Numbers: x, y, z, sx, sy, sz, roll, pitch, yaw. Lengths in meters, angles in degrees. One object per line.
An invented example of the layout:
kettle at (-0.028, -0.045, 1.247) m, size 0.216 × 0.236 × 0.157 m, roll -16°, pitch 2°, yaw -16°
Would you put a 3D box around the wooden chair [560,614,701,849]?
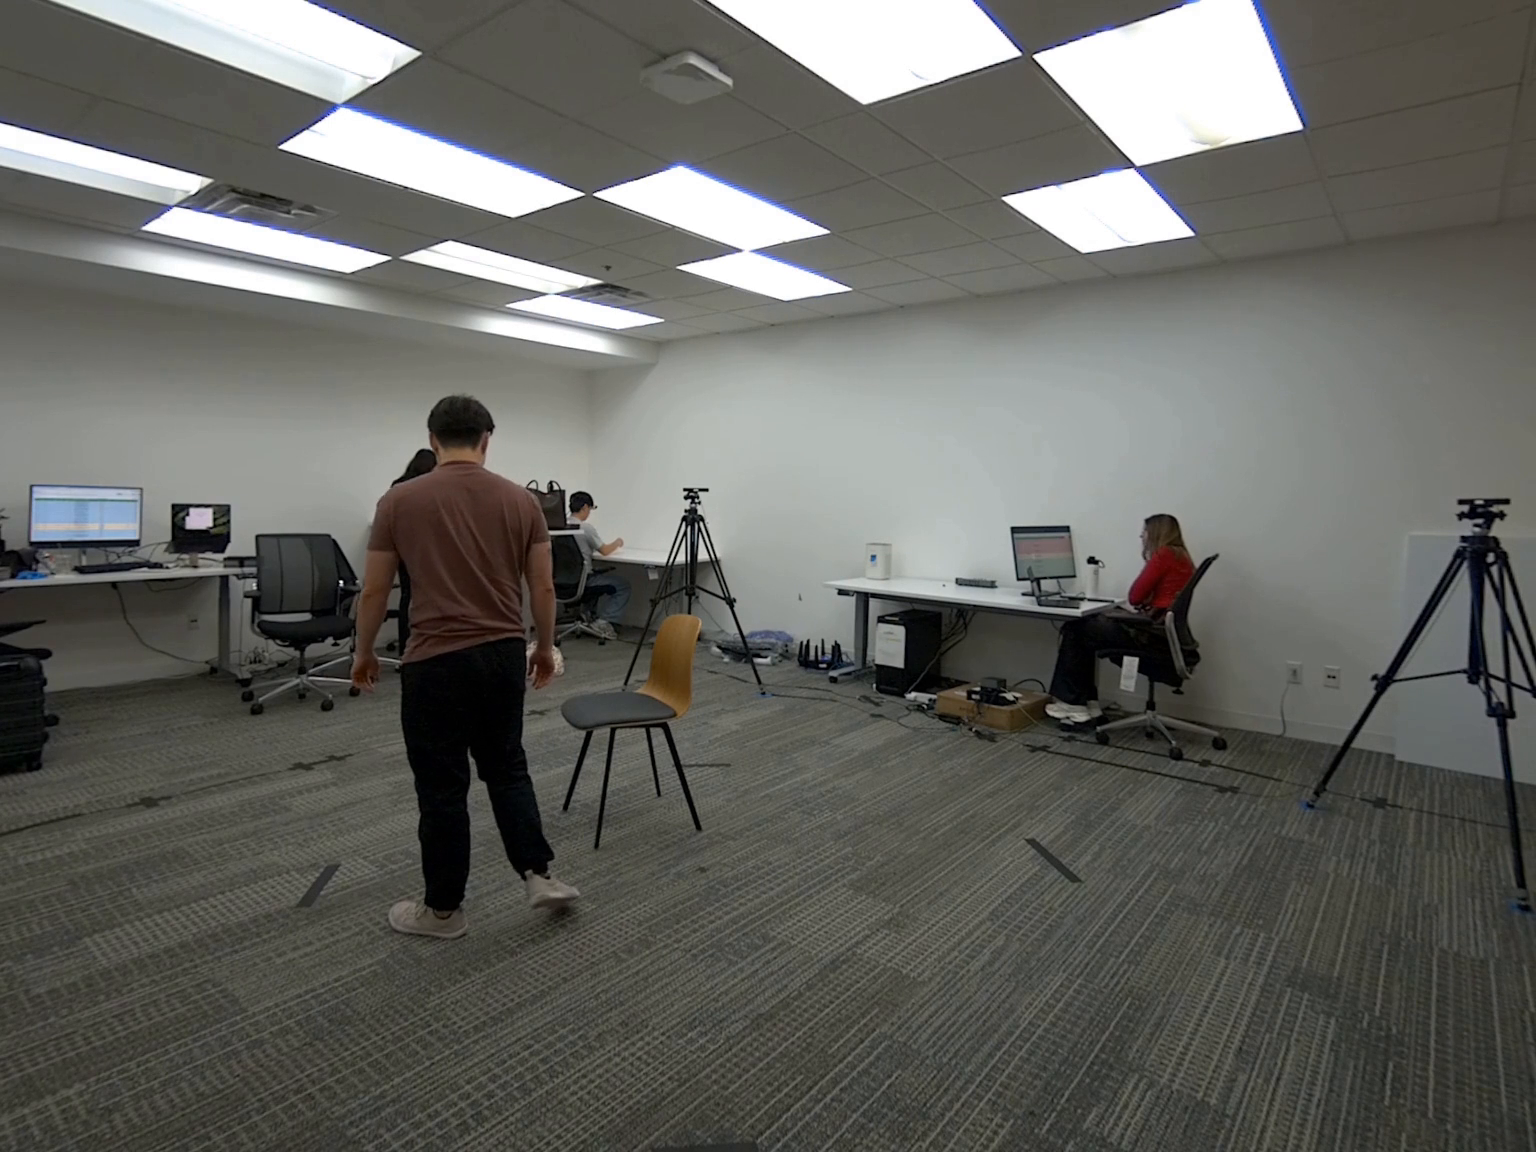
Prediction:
wooden chair at (-0.587, 0.595, 3.529) m, size 0.509 × 0.876 × 0.492 m, roll 4°, pitch 2°, yaw -28°
